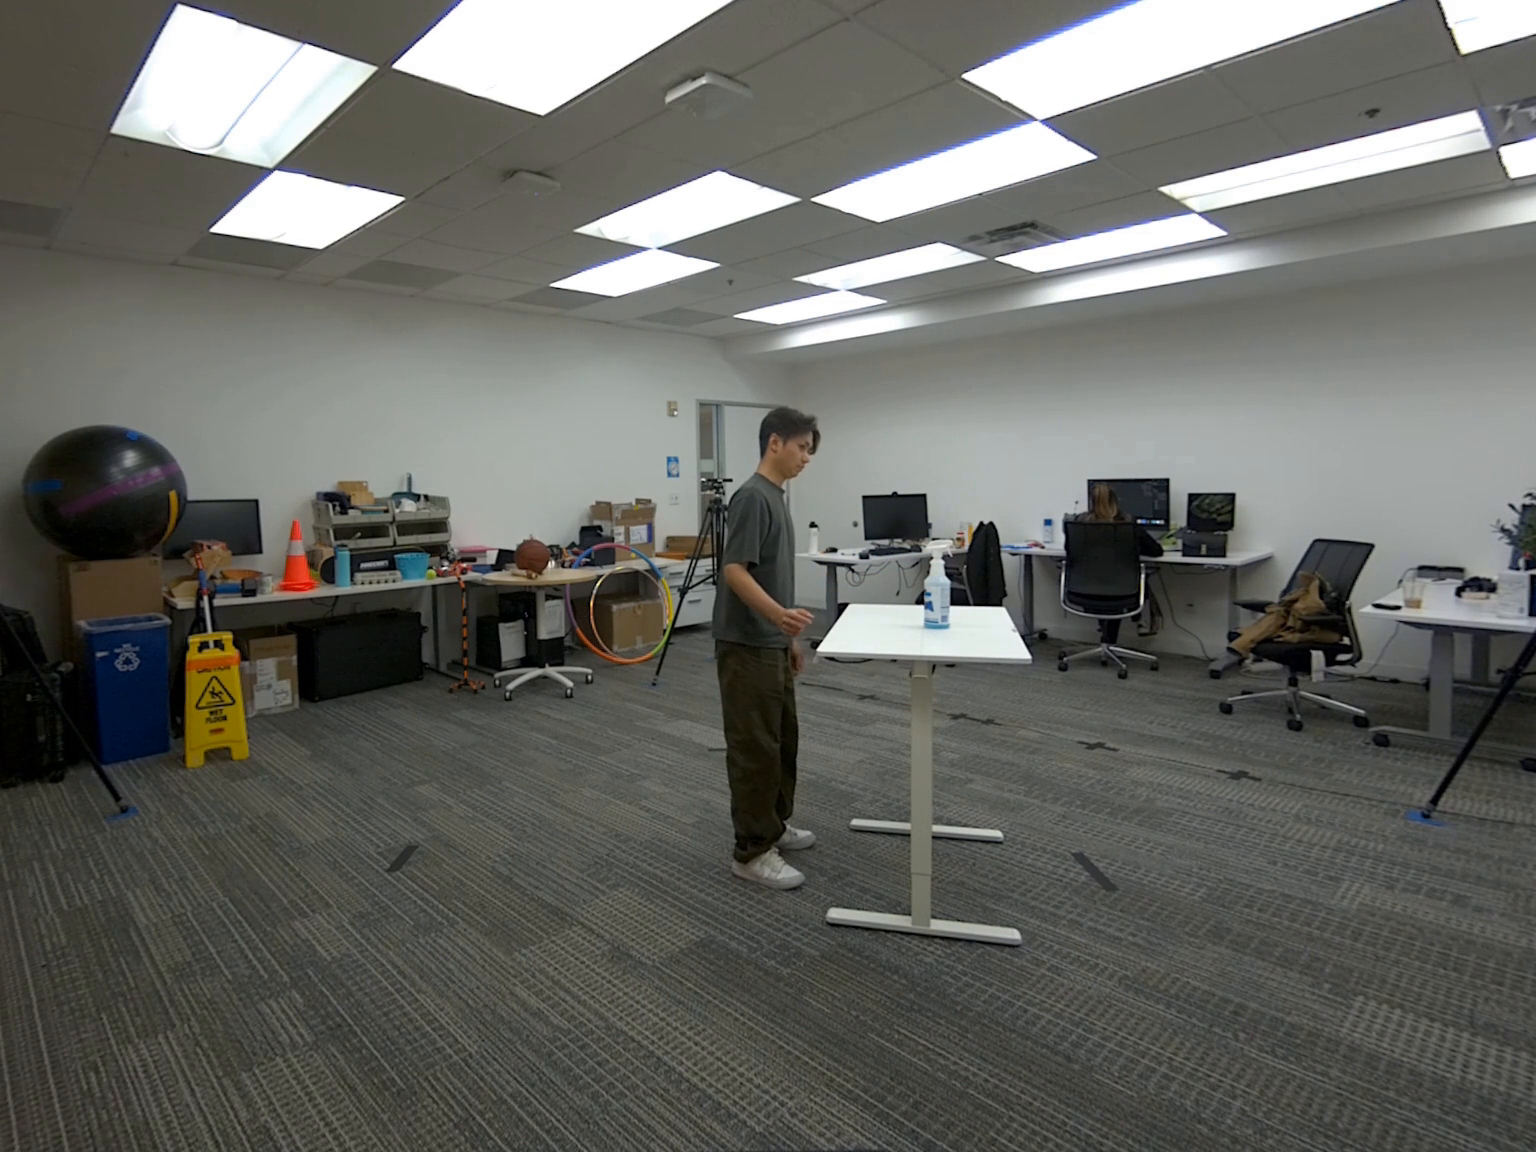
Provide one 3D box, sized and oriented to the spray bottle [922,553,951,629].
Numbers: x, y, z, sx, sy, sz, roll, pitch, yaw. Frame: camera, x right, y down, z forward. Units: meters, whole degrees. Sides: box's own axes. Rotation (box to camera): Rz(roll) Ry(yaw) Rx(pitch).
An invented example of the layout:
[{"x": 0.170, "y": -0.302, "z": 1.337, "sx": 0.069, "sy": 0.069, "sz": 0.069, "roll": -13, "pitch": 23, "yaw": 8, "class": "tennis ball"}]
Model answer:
[{"x": 0.574, "y": 0.029, "z": 2.894, "sx": 0.092, "sy": 0.297, "sz": 0.084, "roll": 0, "pitch": 0, "yaw": 38, "class": "spray bottle"}]
